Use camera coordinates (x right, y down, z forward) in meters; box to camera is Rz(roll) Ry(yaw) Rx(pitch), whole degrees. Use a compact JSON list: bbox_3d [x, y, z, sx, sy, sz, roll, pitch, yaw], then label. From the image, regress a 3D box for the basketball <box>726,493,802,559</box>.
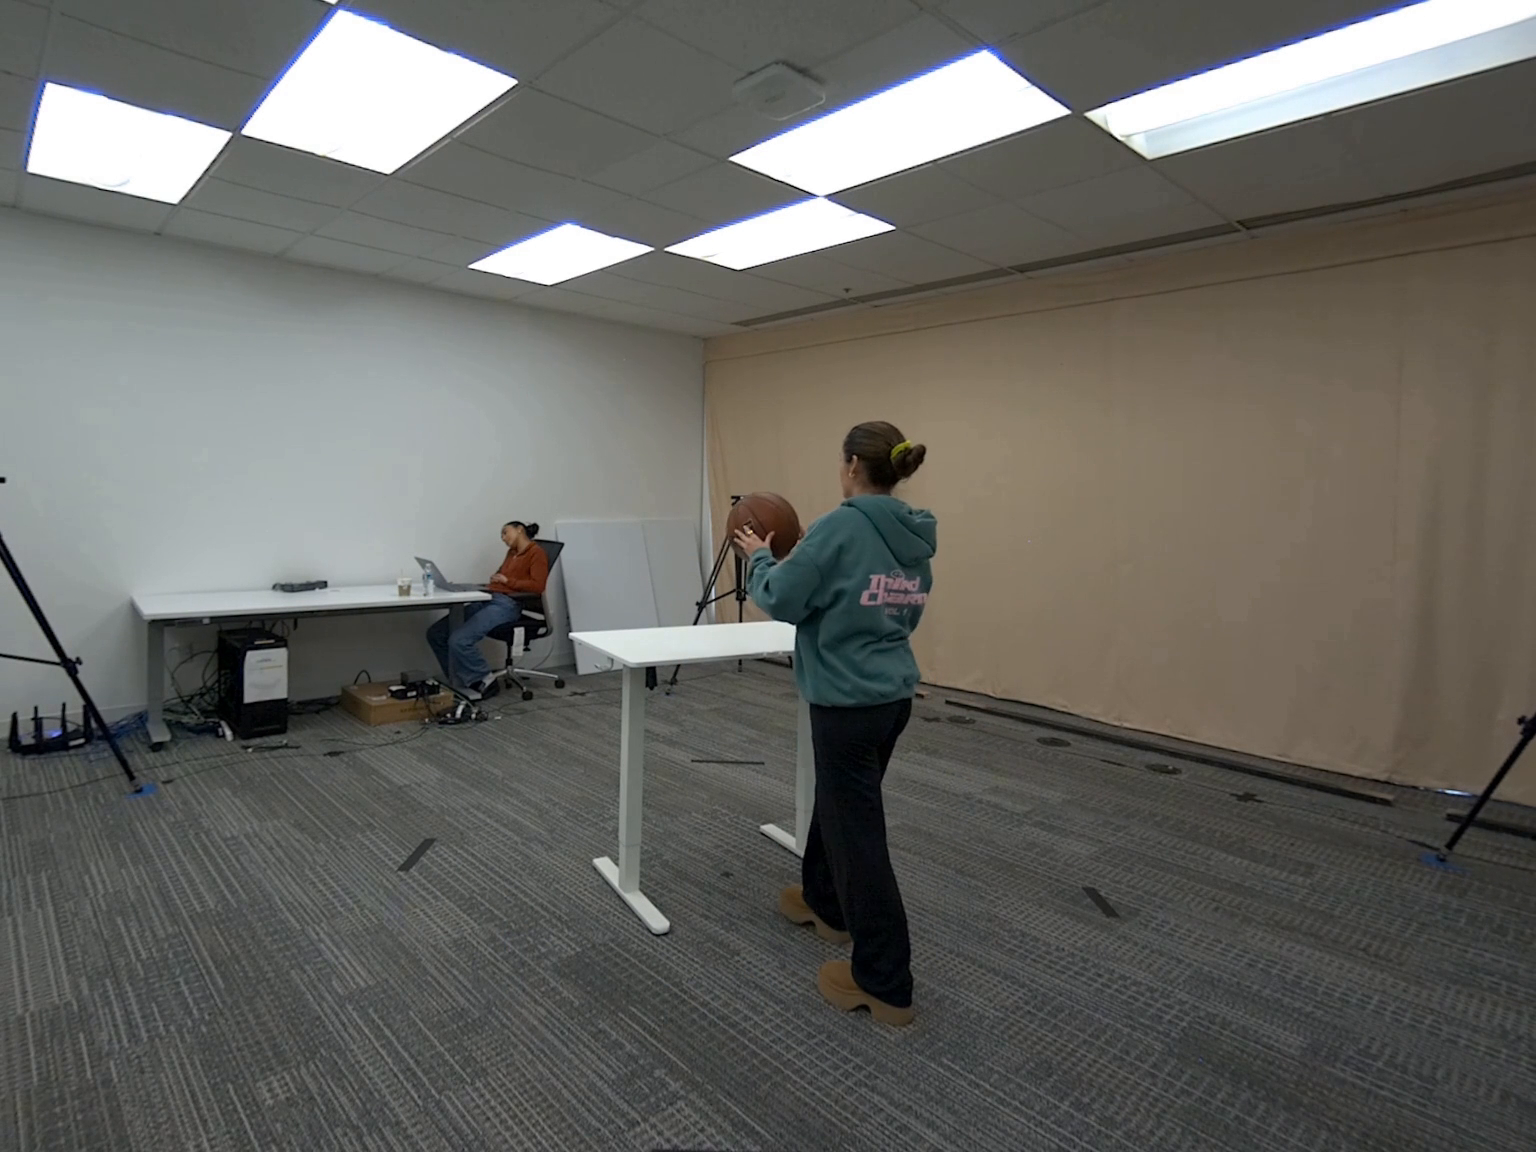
[{"bbox_3d":[-0.027,-0.147,2.707,0.236,0.235,0.237,1,4,-1],"label":"basketball"}]
